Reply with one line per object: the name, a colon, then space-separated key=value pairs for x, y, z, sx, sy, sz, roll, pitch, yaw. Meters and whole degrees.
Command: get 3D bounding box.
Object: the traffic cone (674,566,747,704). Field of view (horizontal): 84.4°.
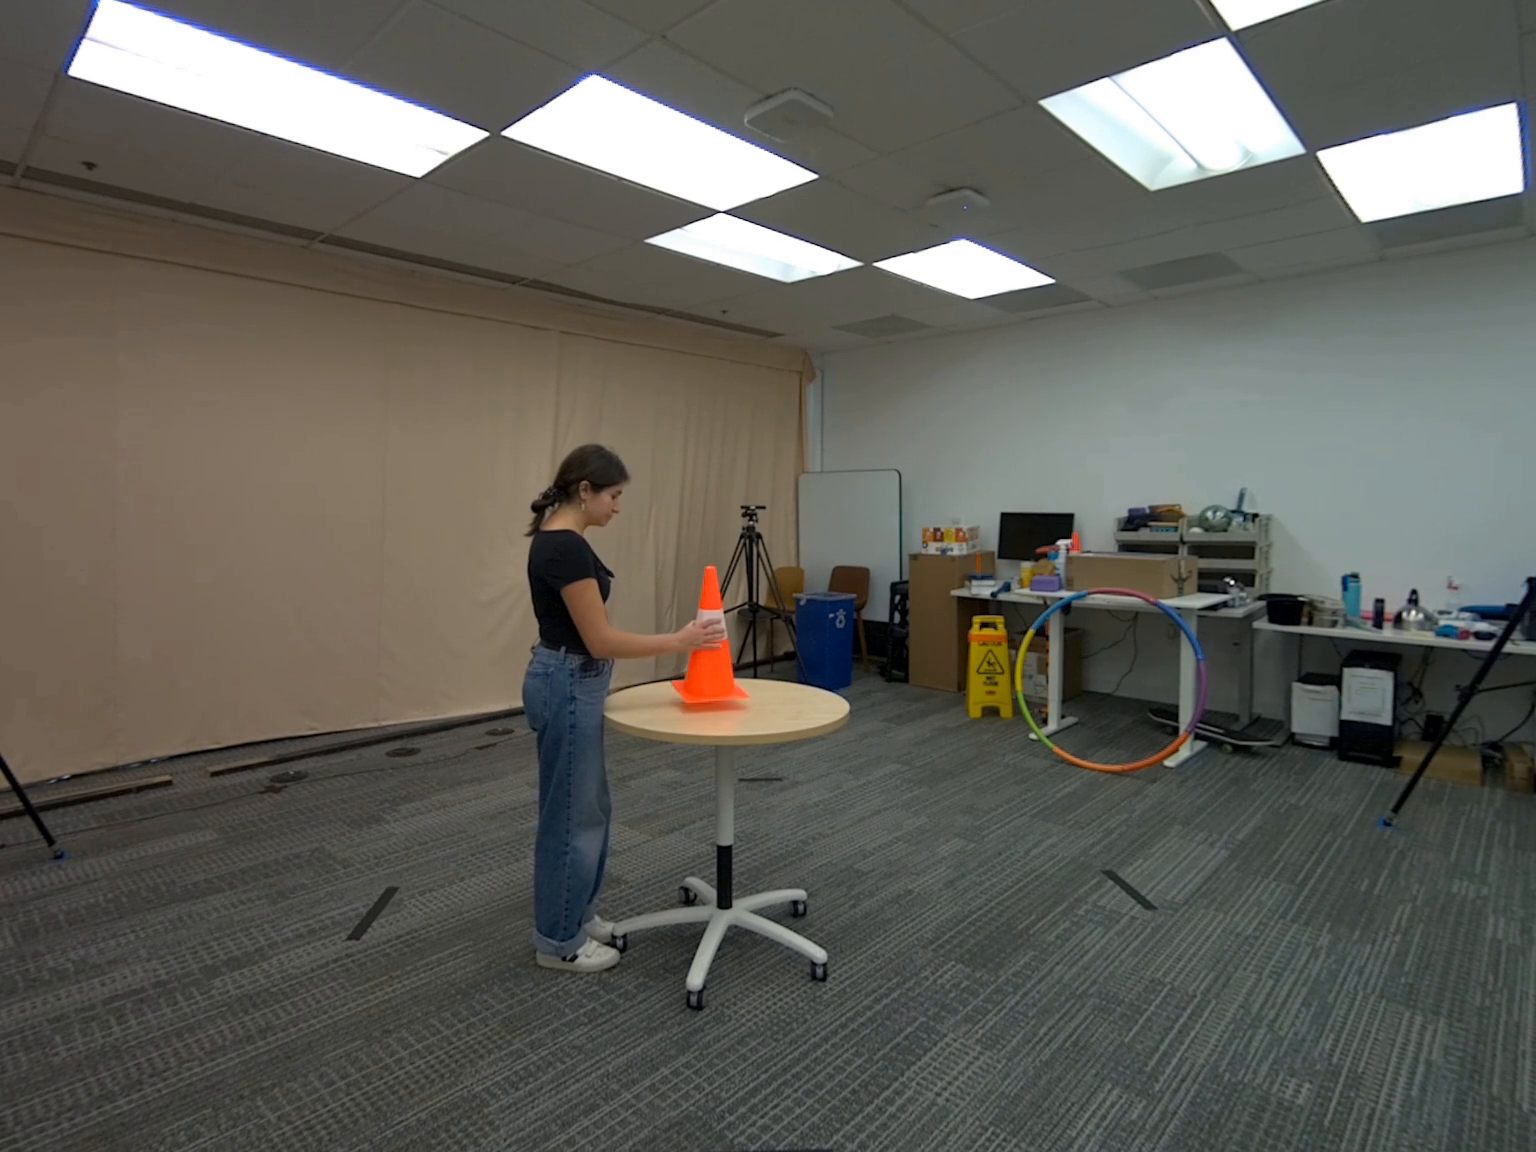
traffic cone: x=-0.167 y=0.167 z=2.538 sx=0.197 sy=0.382 sz=0.211 roll=0 pitch=7 yaw=-32
